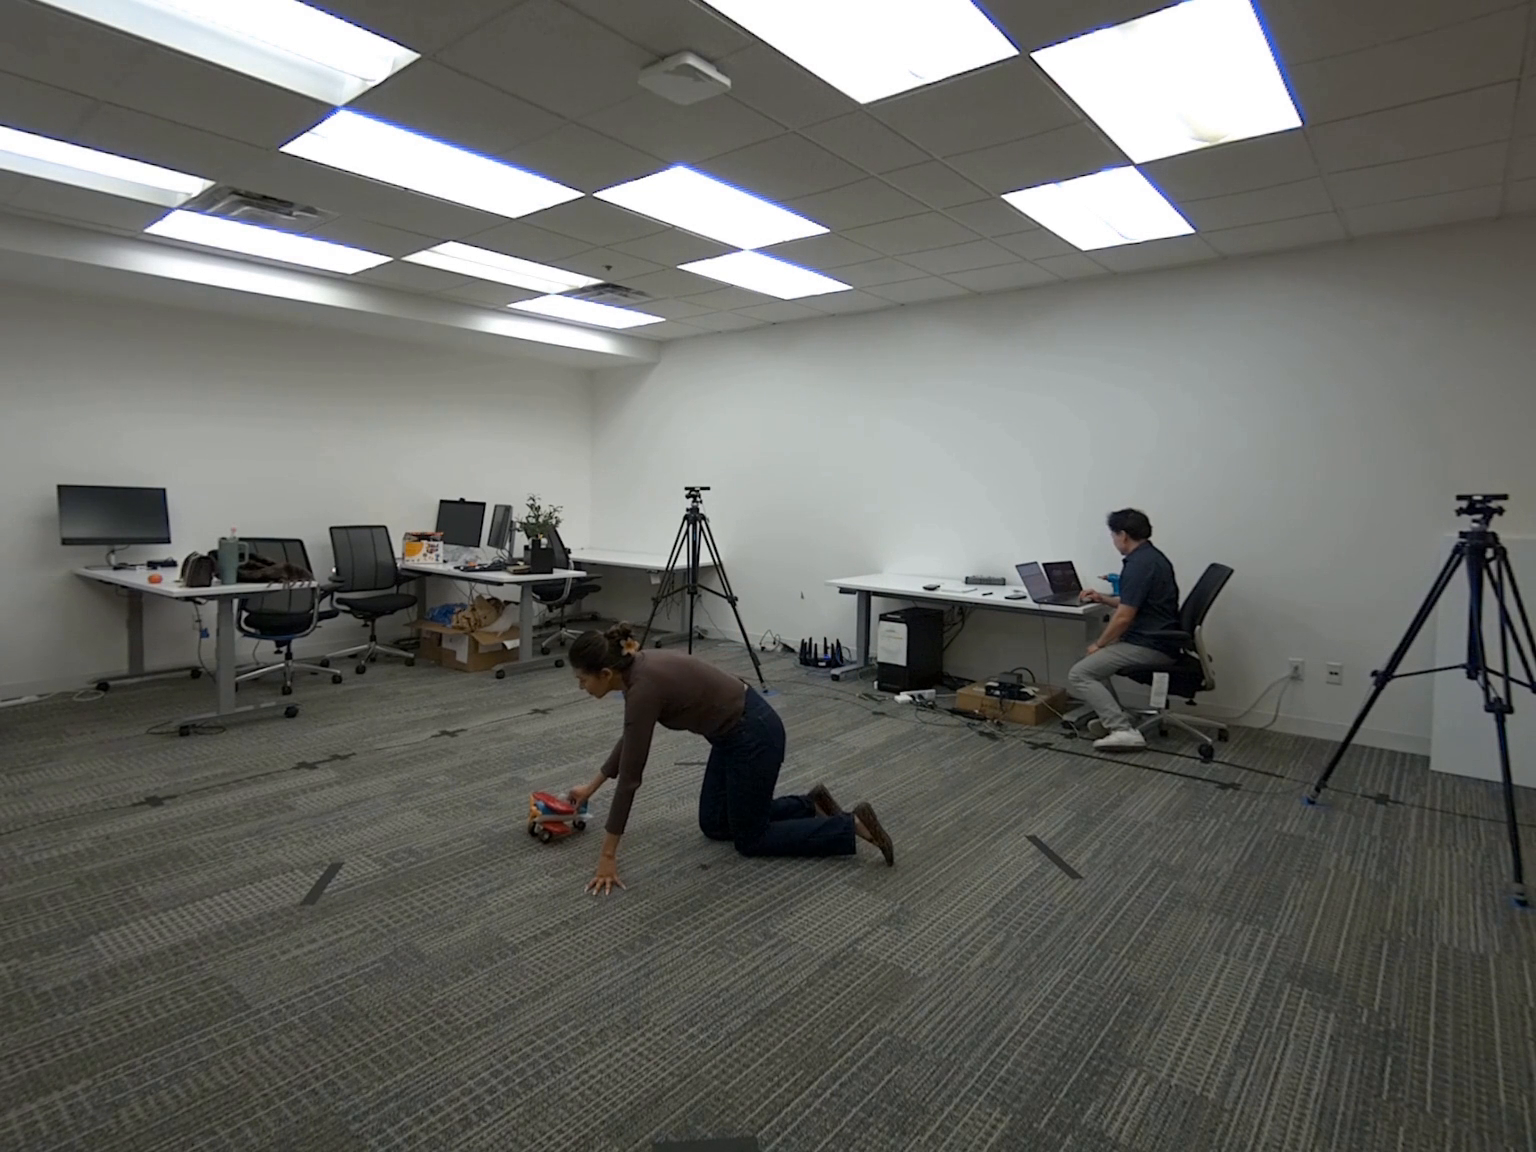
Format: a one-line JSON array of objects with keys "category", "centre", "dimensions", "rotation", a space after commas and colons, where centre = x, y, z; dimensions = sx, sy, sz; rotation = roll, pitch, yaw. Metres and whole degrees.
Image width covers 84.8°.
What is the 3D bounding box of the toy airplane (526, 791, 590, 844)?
[{"category": "toy airplane", "centre": [-0.862, 0.956, 3.411], "dimensions": [0.256, 0.155, 0.255], "rotation": [2, 7, 19]}]
